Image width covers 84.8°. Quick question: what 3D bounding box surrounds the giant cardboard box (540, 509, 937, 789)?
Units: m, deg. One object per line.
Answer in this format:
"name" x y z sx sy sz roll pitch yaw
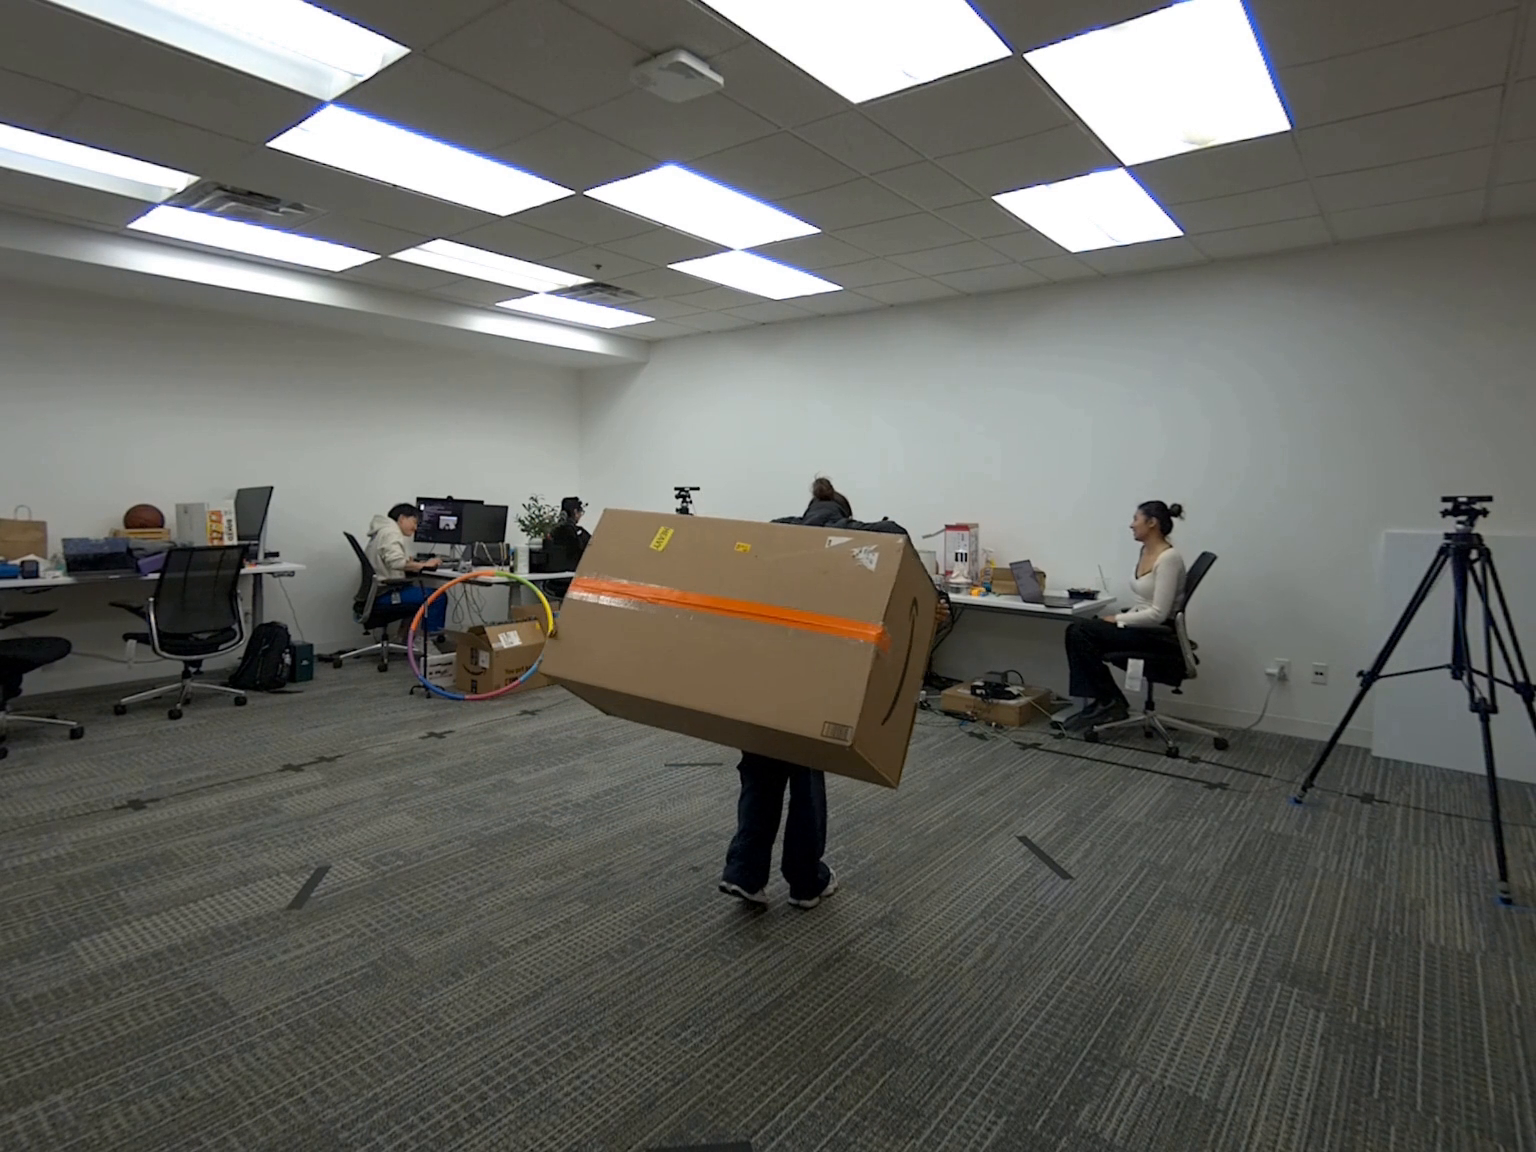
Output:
"giant cardboard box" -0.082 0.183 2.554 1.058 0.584 0.408 7 -24 31
